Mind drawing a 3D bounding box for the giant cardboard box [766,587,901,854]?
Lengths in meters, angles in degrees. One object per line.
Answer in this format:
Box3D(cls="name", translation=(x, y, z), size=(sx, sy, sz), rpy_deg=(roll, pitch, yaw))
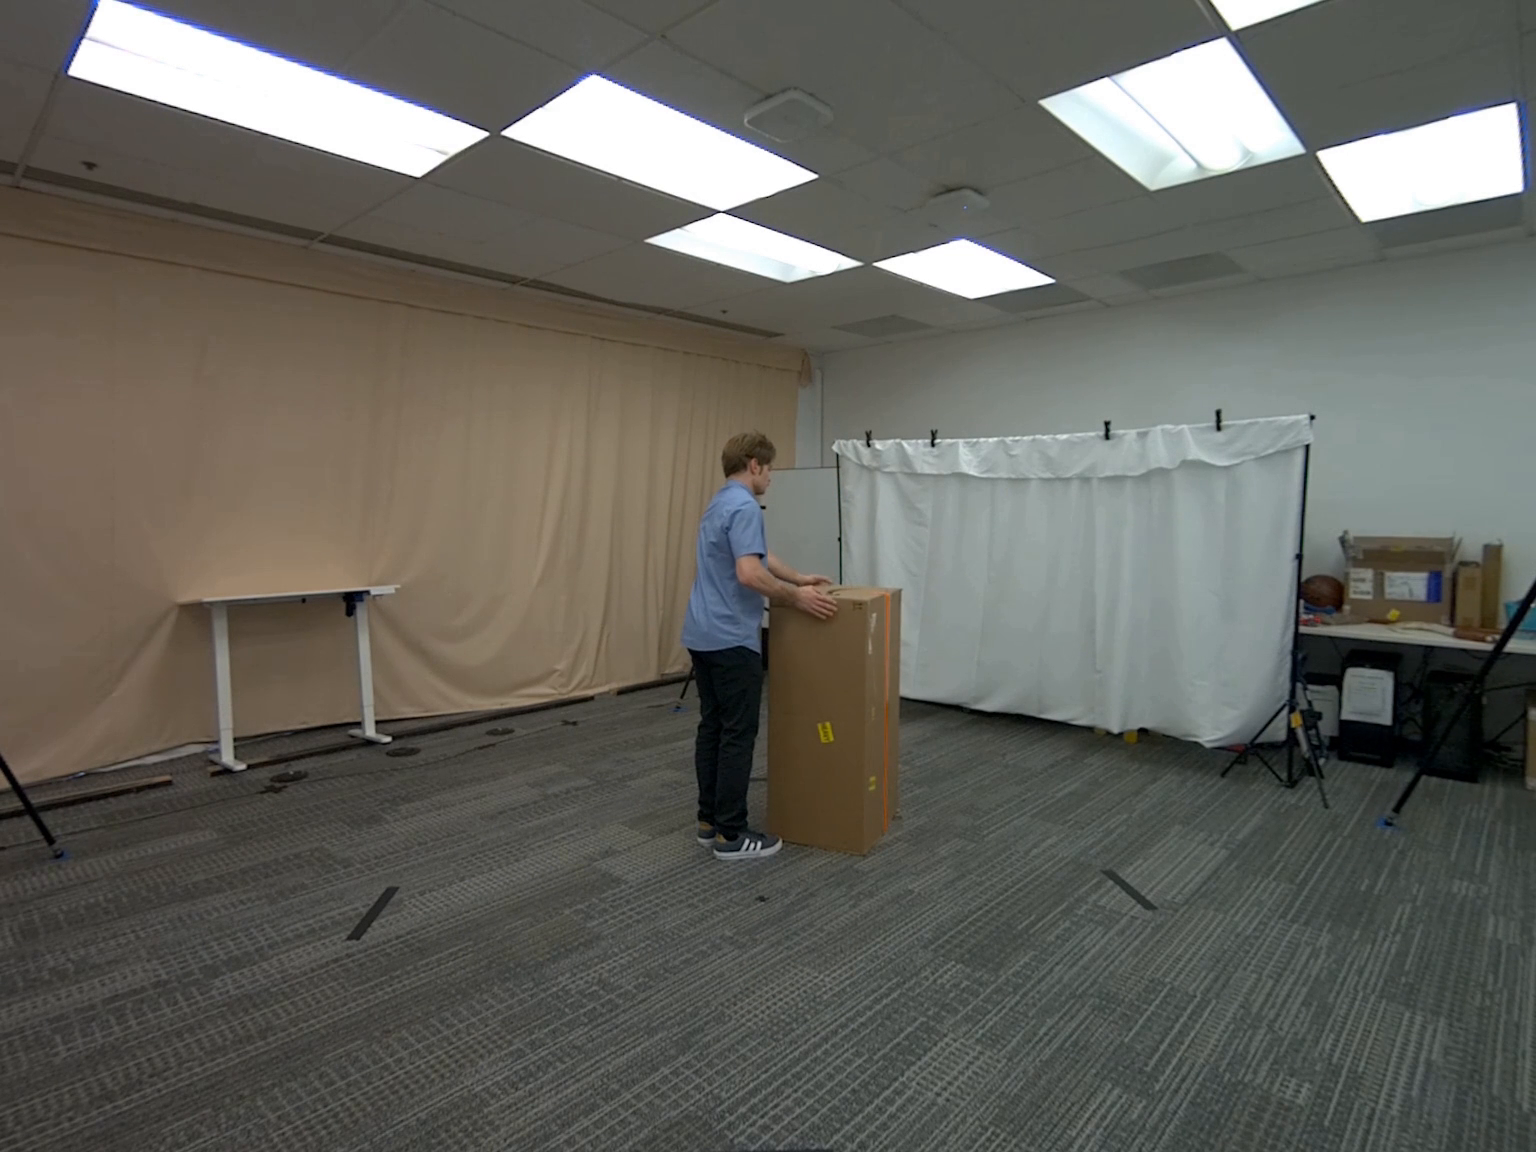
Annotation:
Box3D(cls="giant cardboard box", translation=(0.309, 0.577, 3.670), size=(0.437, 1.024, 0.564), rpy_deg=(2, 3, 25))
